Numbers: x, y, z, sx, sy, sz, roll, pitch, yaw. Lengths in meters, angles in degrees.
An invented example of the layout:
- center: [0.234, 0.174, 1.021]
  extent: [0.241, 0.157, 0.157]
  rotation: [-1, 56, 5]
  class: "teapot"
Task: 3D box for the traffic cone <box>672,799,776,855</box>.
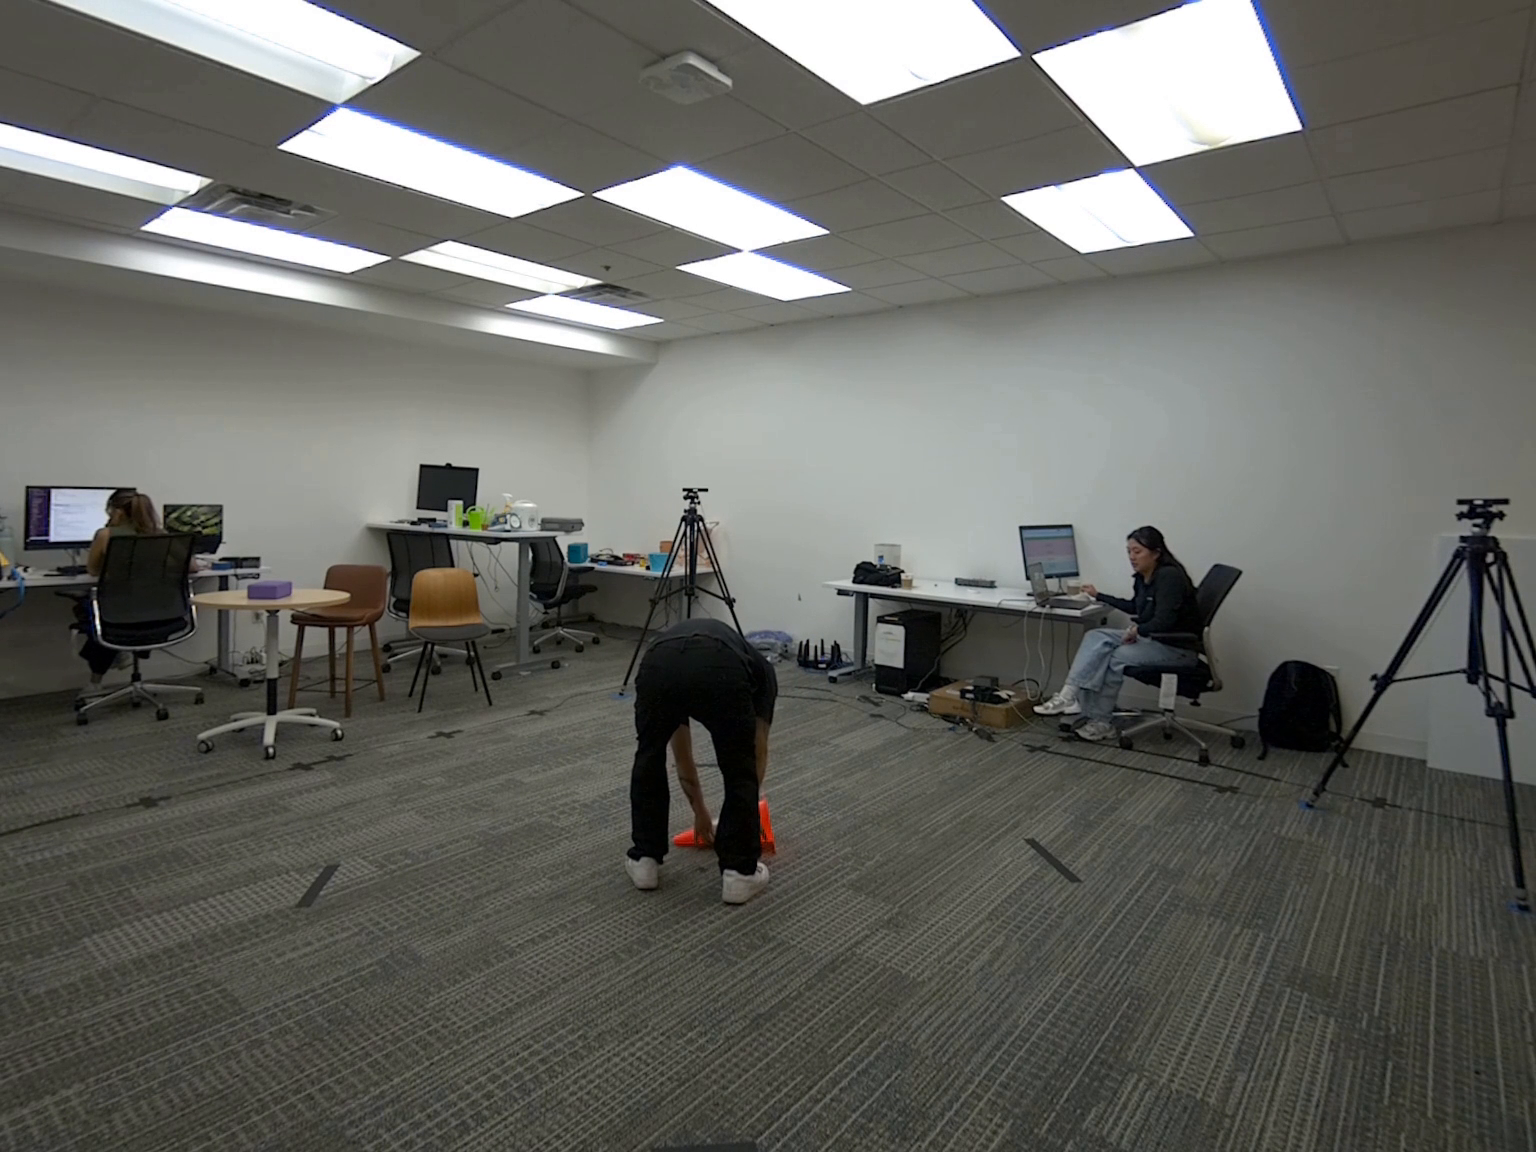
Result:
- center: [-0.195, 0.993, 3.323]
  extent: [0.382, 0.205, 0.204]
  rotation: [-11, 2, -5]
  class: "traffic cone"
